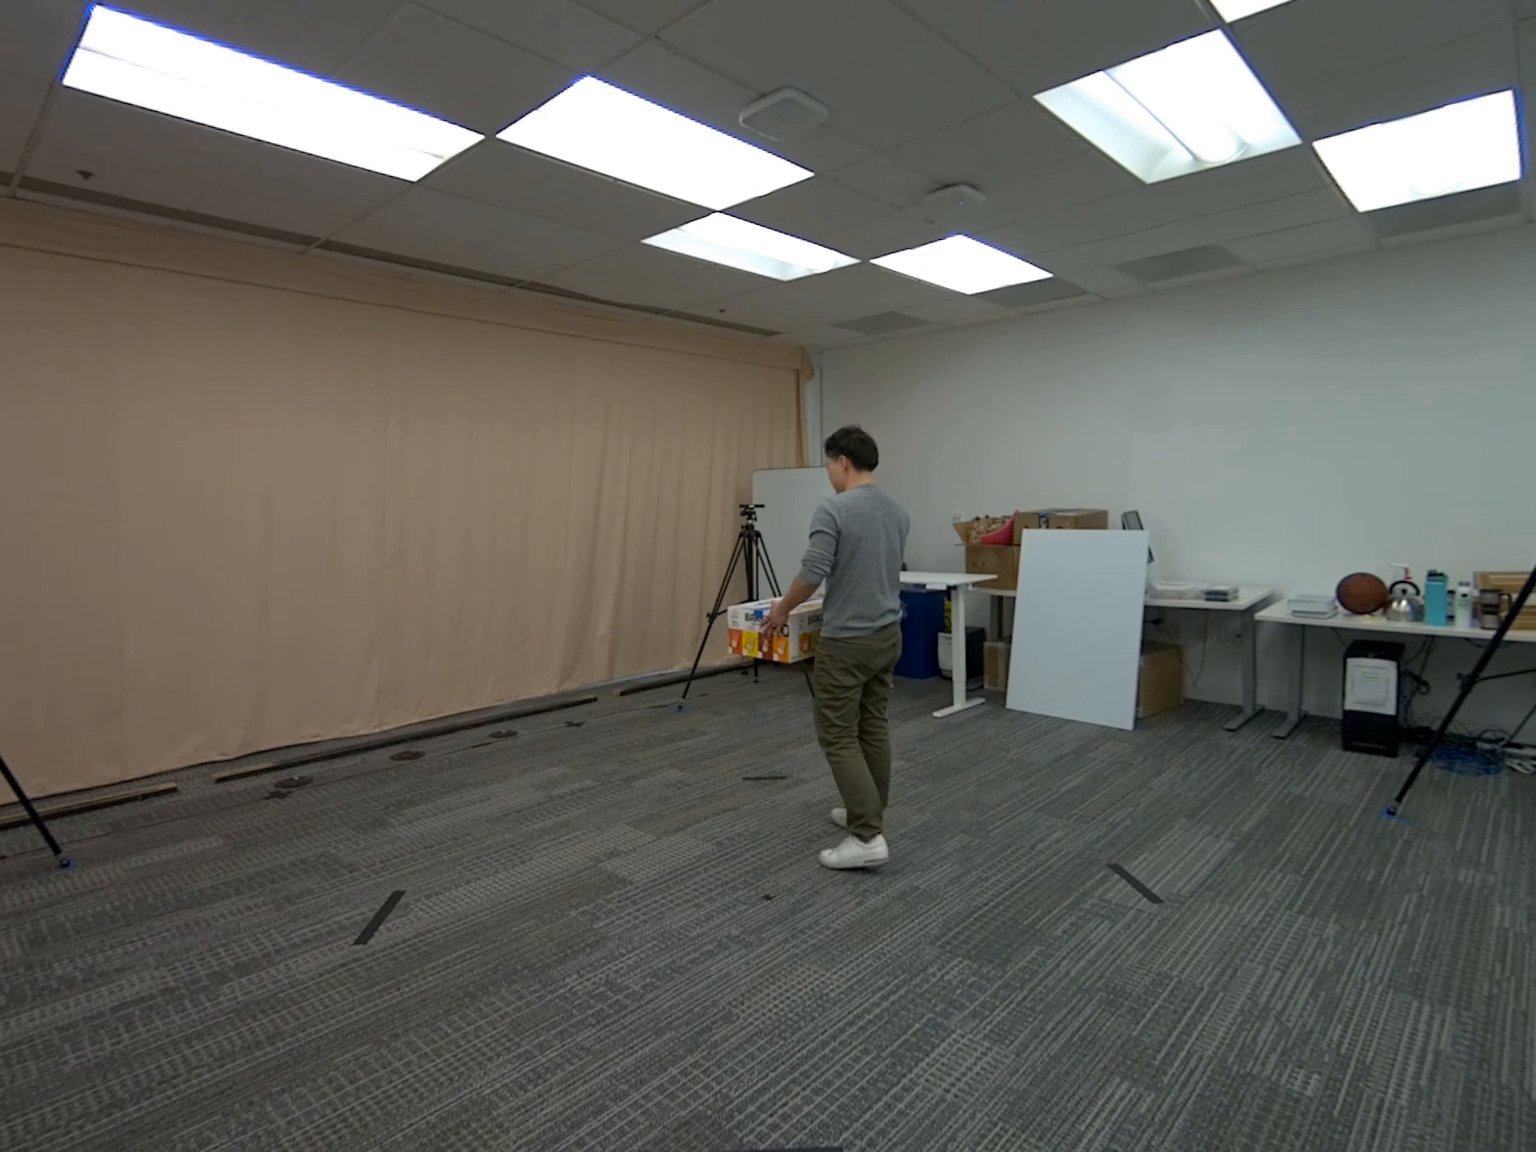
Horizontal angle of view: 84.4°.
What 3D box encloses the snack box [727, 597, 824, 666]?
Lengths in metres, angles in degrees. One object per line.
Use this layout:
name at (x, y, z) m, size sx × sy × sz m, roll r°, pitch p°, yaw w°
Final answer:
snack box at (0.084, 0.225, 3.662) m, size 0.352 × 0.205 × 0.393 m, roll 5°, pitch 9°, yaw 40°
